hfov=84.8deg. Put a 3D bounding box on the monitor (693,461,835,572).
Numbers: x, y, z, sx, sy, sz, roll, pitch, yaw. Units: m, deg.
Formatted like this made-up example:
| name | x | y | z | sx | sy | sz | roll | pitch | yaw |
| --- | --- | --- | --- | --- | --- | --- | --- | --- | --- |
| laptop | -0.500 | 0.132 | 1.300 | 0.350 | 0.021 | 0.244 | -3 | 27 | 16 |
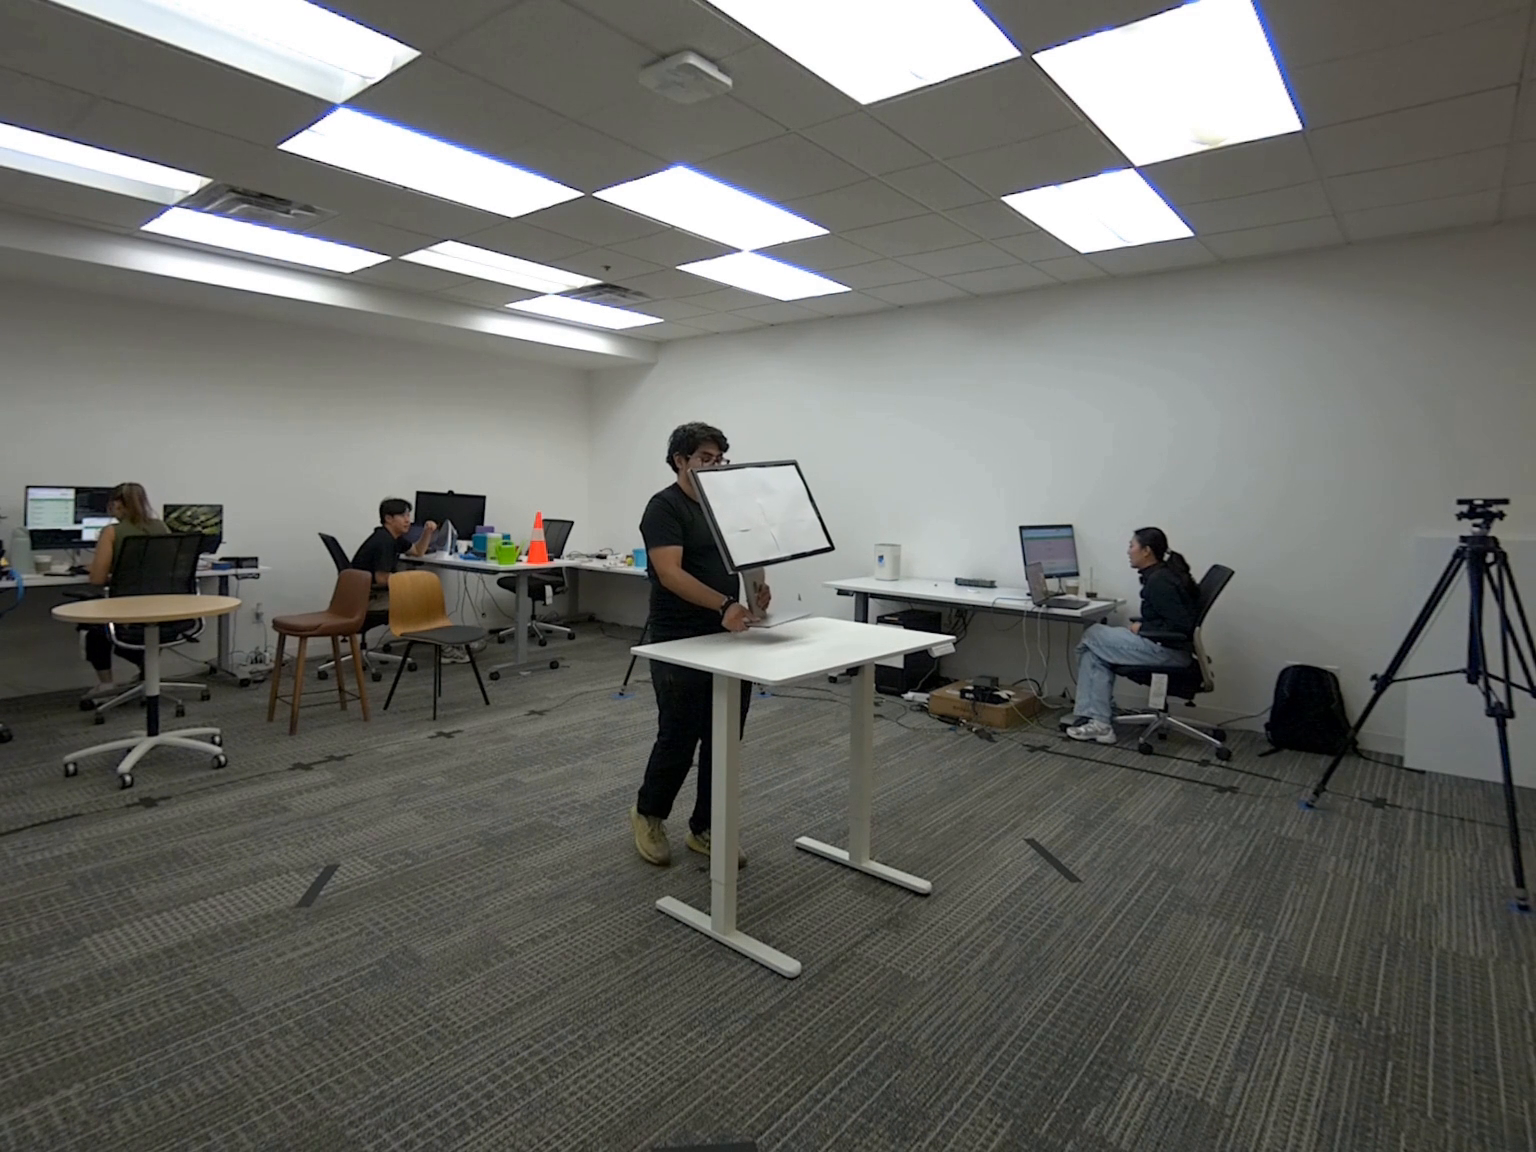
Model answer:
| name | x | y | z | sx | sy | sz | roll | pitch | yaw |
| --- | --- | --- | --- | --- | --- | --- | --- | --- | --- |
| monitor | -0.046 | -0.112 | 2.910 | 0.214 | 0.558 | 0.551 | -22 | -7 | 40 |
